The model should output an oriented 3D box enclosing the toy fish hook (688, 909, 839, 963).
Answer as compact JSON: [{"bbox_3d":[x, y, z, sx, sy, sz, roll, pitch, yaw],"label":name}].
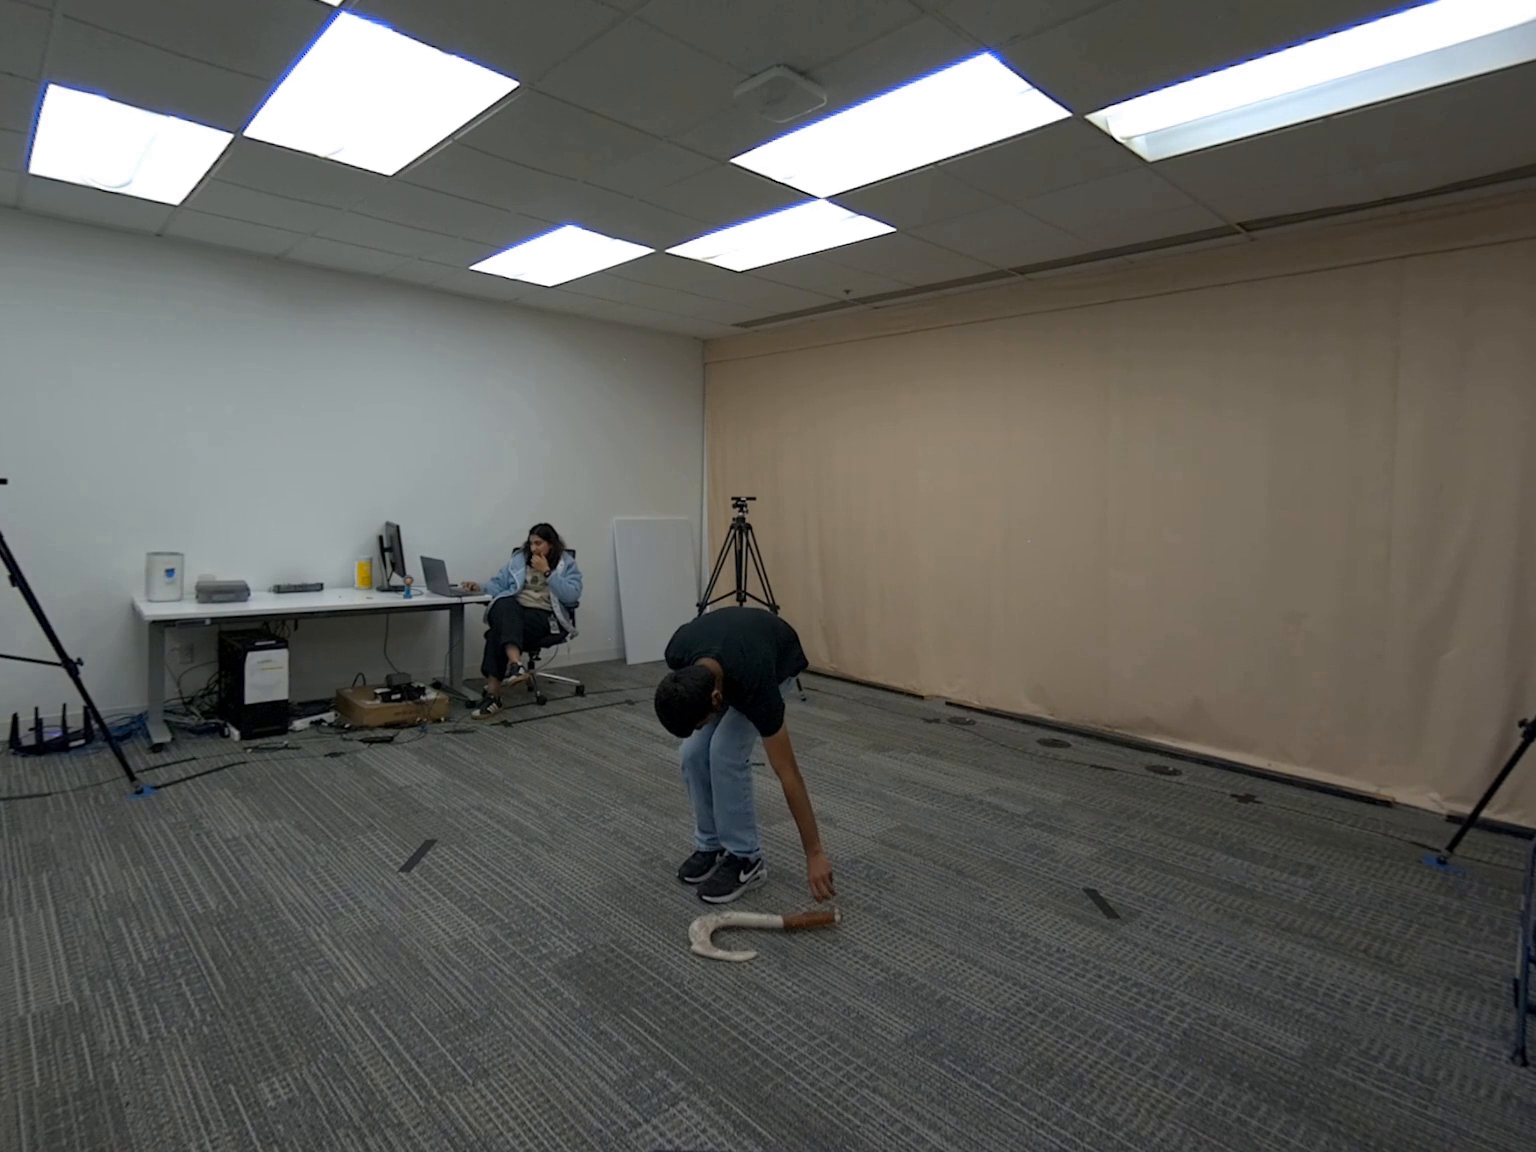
[{"bbox_3d":[0.002,1.111,2.650,0.503,0.048,0.228,-3,14,-9],"label":"toy fish hook"}]
